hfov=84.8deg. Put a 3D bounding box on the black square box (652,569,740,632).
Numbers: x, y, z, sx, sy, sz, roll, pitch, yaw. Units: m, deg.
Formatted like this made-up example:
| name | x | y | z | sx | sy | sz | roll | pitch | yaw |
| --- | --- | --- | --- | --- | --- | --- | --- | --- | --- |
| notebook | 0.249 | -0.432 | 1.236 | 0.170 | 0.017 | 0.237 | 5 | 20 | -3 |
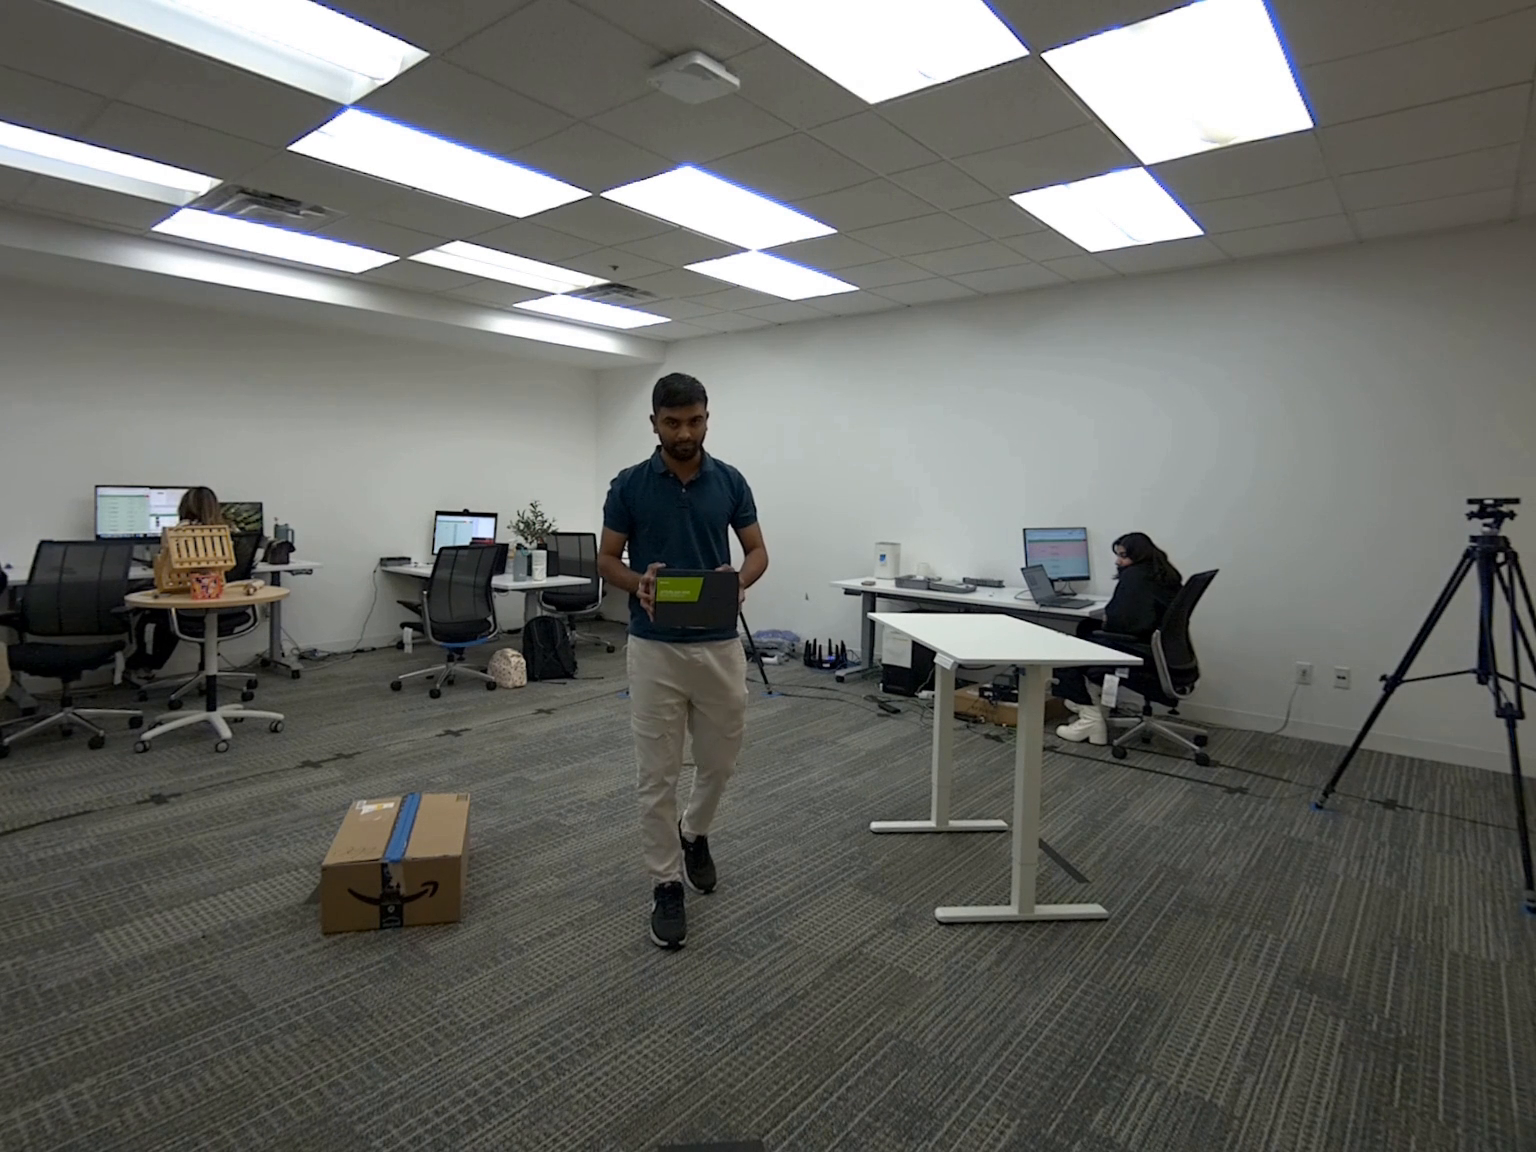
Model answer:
| name | x | y | z | sx | sy | sz | roll | pitch | yaw |
| --- | --- | --- | --- | --- | --- | --- | --- | --- | --- |
| black square box | -0.211 | 0.055 | 2.403 | 0.226 | 0.156 | 0.218 | 2 | 1 | -6 |
